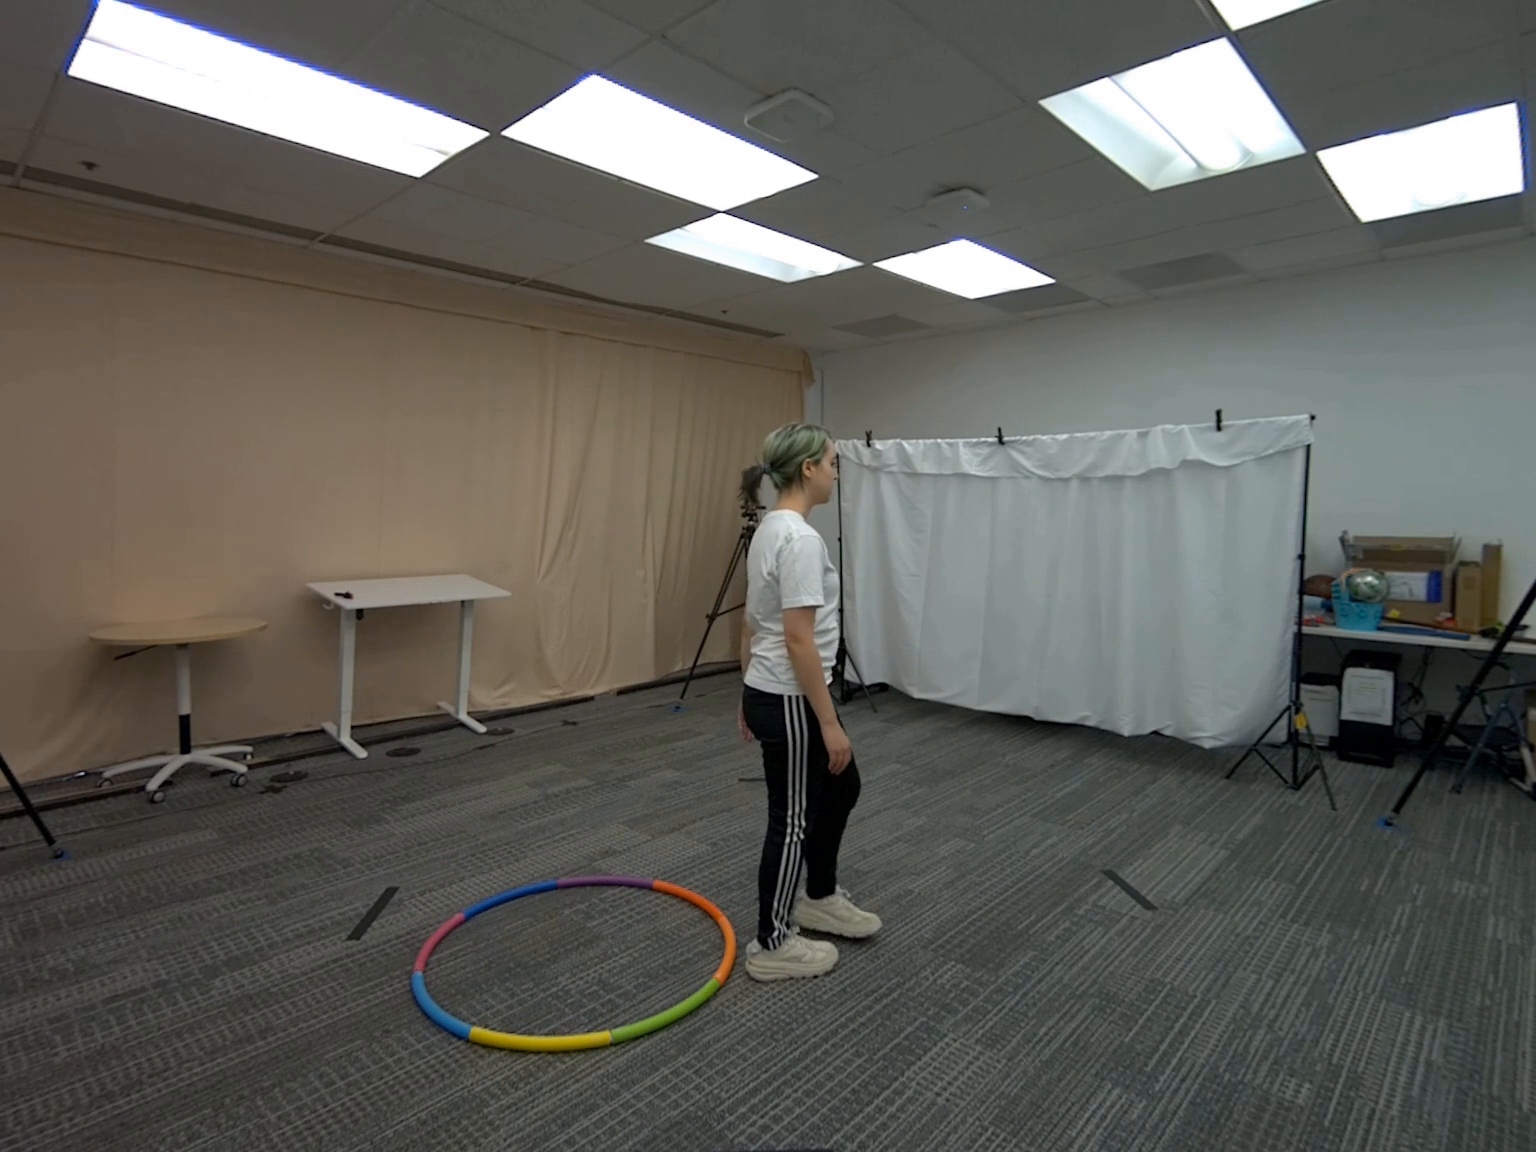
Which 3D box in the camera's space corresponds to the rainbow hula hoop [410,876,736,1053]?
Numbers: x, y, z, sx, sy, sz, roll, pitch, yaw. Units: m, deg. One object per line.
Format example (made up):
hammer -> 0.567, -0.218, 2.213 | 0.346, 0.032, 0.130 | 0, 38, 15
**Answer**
rainbow hula hoop -> -0.589, 1.153, 2.629 | 0.985, 0.051, 0.989 | 0, 4, -2
